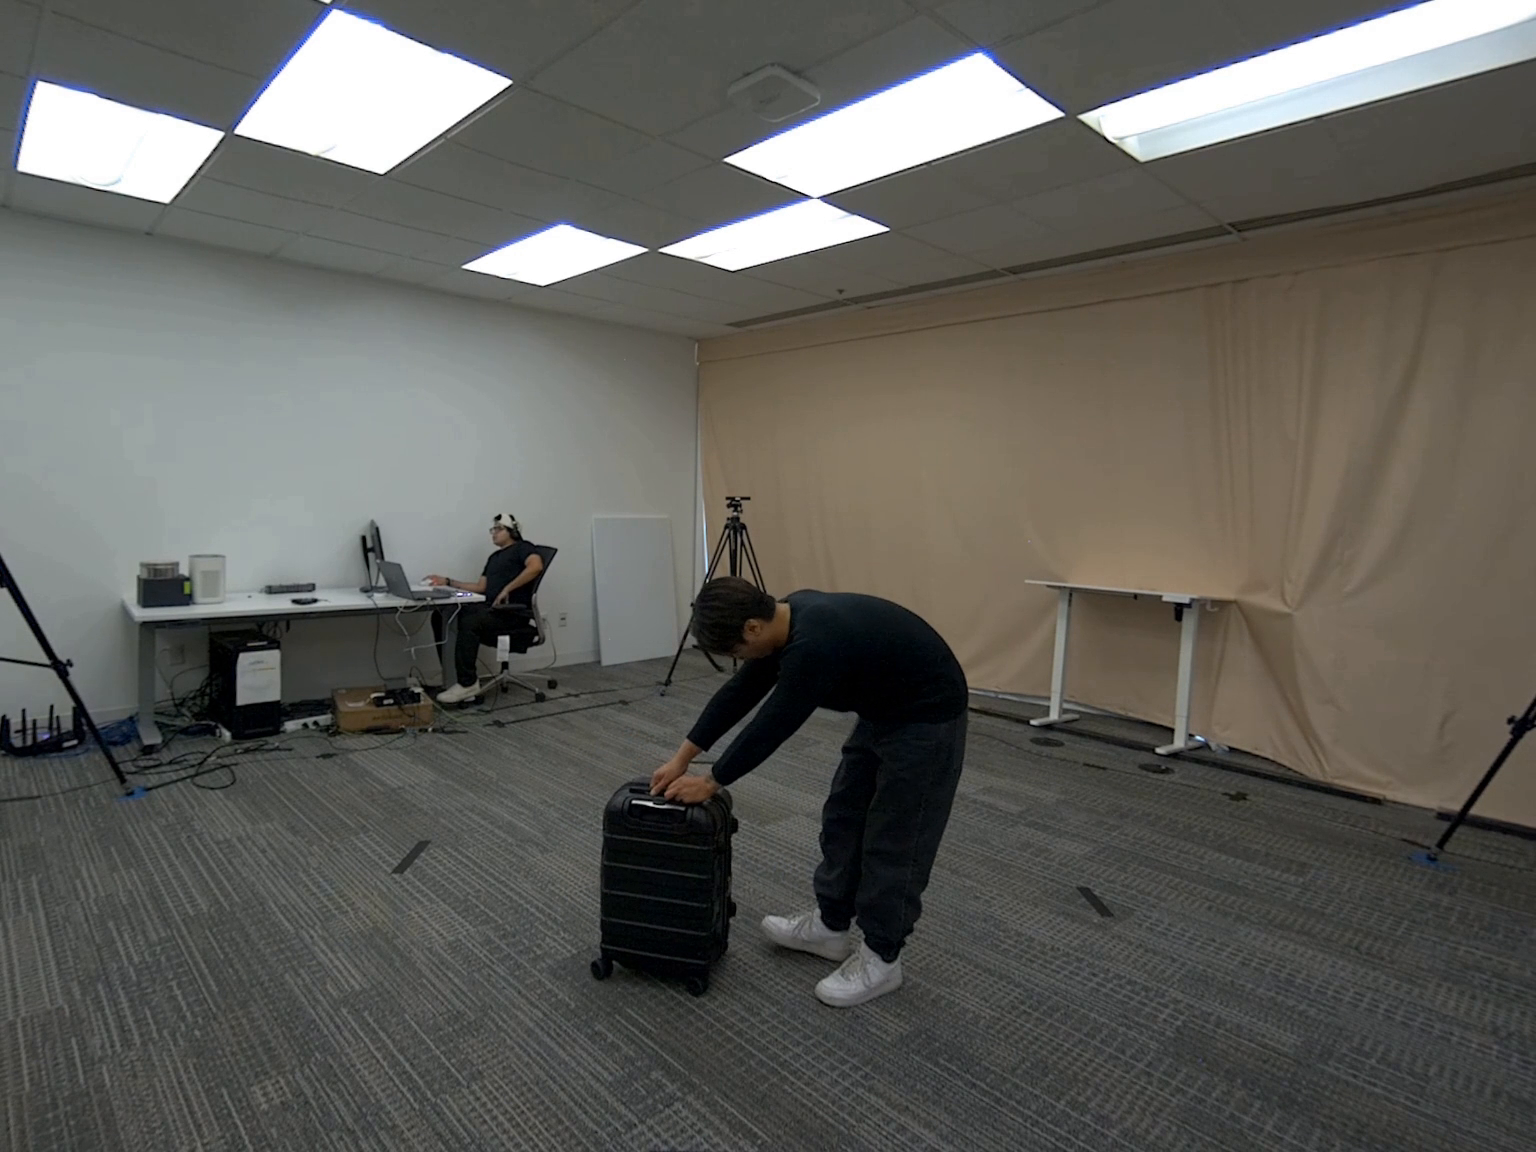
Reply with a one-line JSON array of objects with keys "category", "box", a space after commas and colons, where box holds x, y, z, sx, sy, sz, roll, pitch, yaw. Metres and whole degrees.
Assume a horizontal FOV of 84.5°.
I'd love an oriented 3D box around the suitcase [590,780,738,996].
[{"category": "suitcase", "box": [-0.304, 0.893, 2.478, 0.380, 0.548, 0.246, 3, 3, 14]}]
